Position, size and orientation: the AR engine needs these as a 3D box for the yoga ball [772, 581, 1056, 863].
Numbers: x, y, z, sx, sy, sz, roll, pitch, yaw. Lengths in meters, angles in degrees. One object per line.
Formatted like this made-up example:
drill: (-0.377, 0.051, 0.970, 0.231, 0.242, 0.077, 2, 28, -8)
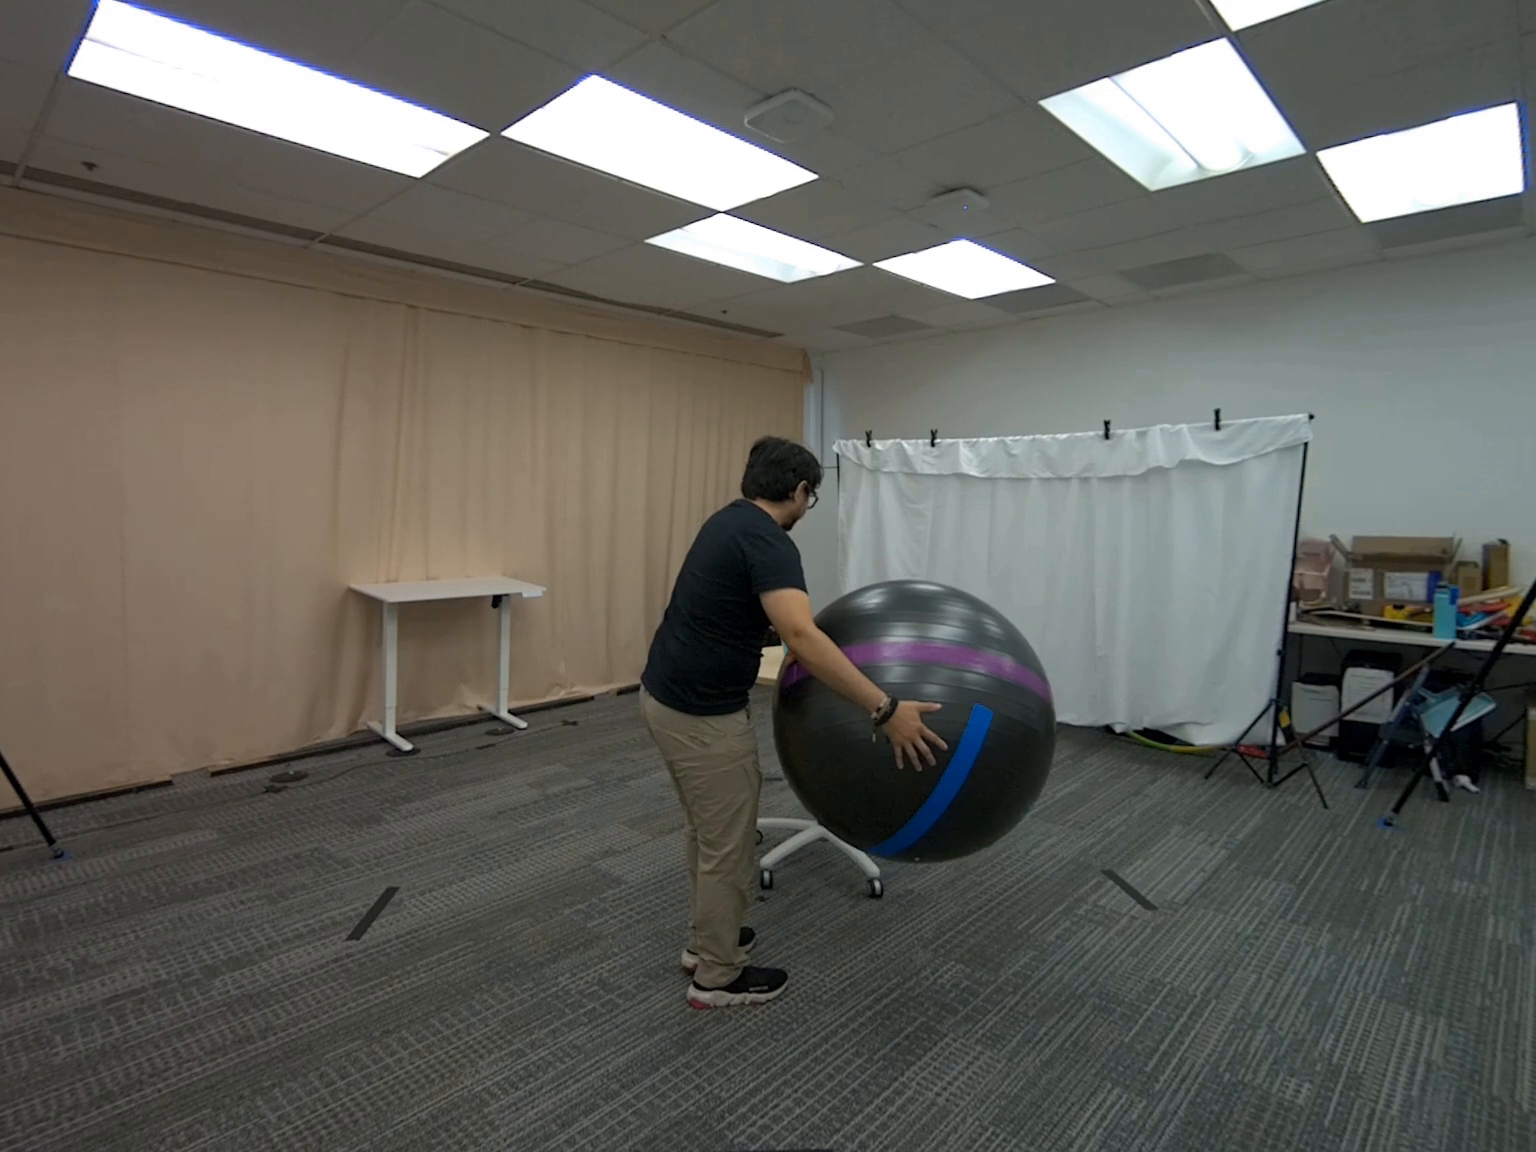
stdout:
yoga ball: (0.396, 0.404, 2.295, 0.757, 0.756, 0.760, 0, 4, -2)
